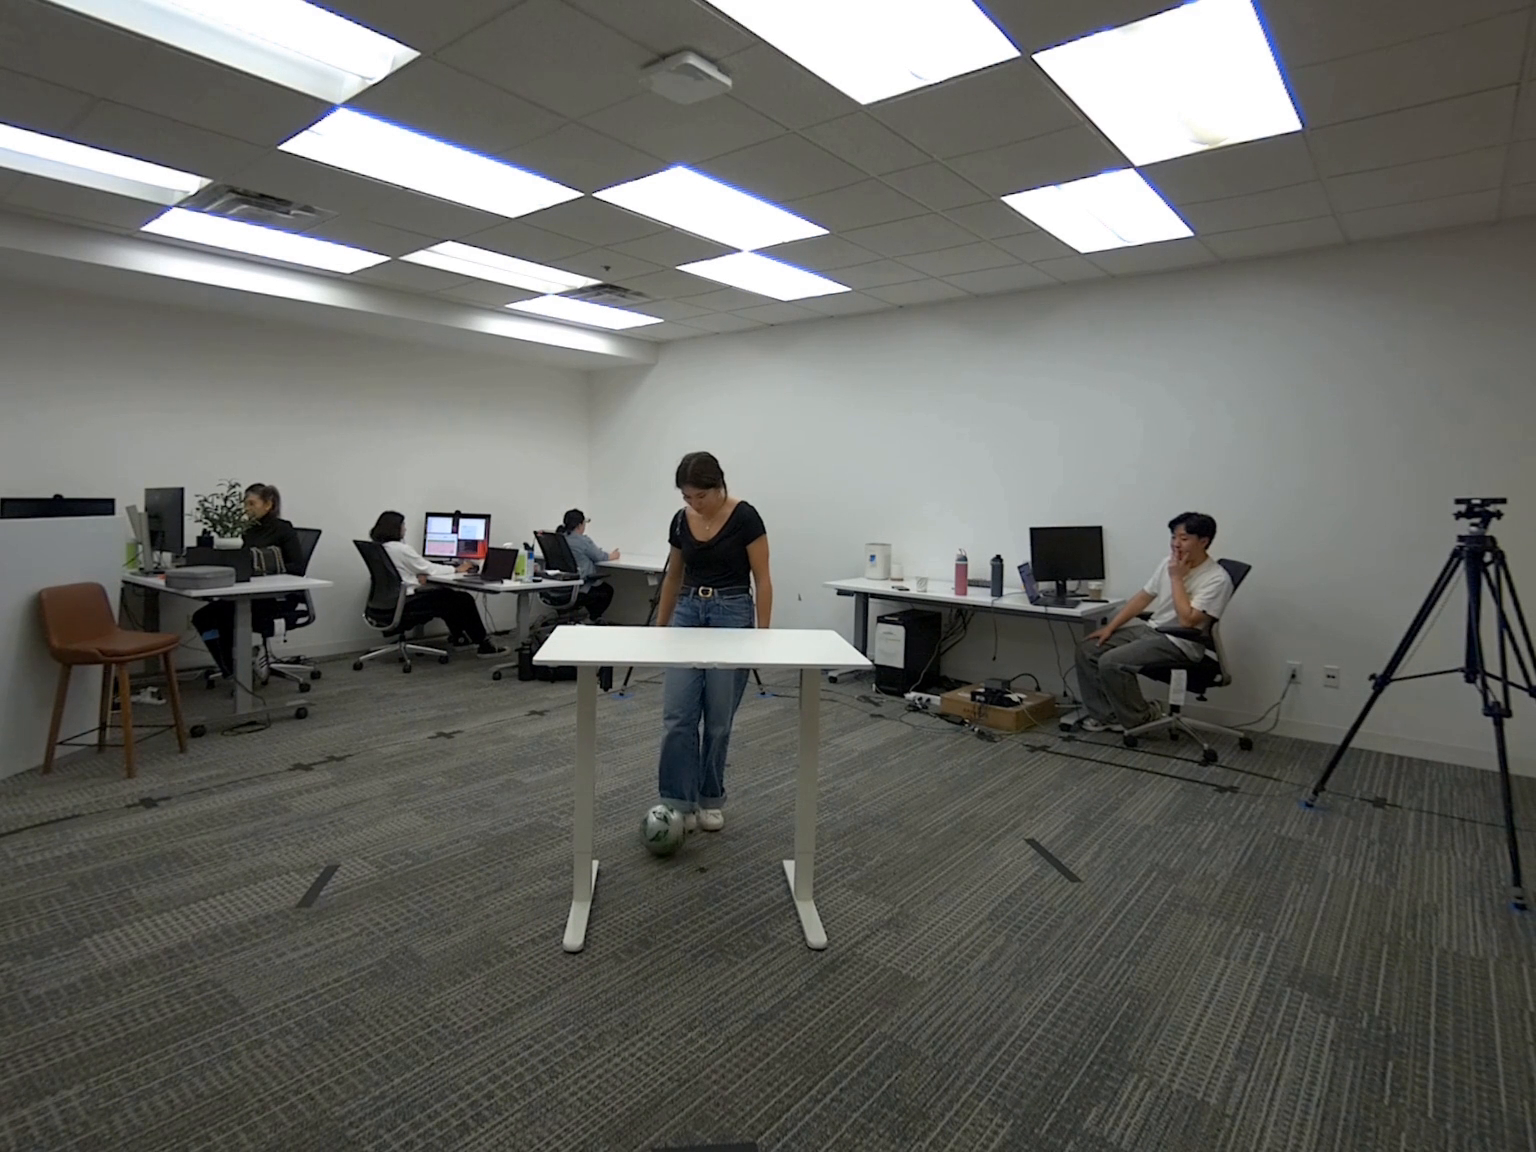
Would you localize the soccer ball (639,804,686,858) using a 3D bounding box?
[{"bbox_3d":[-0.403,0.958,3.242,0.187,0.187,0.188,1,4,-2],"label":"soccer ball"}]
